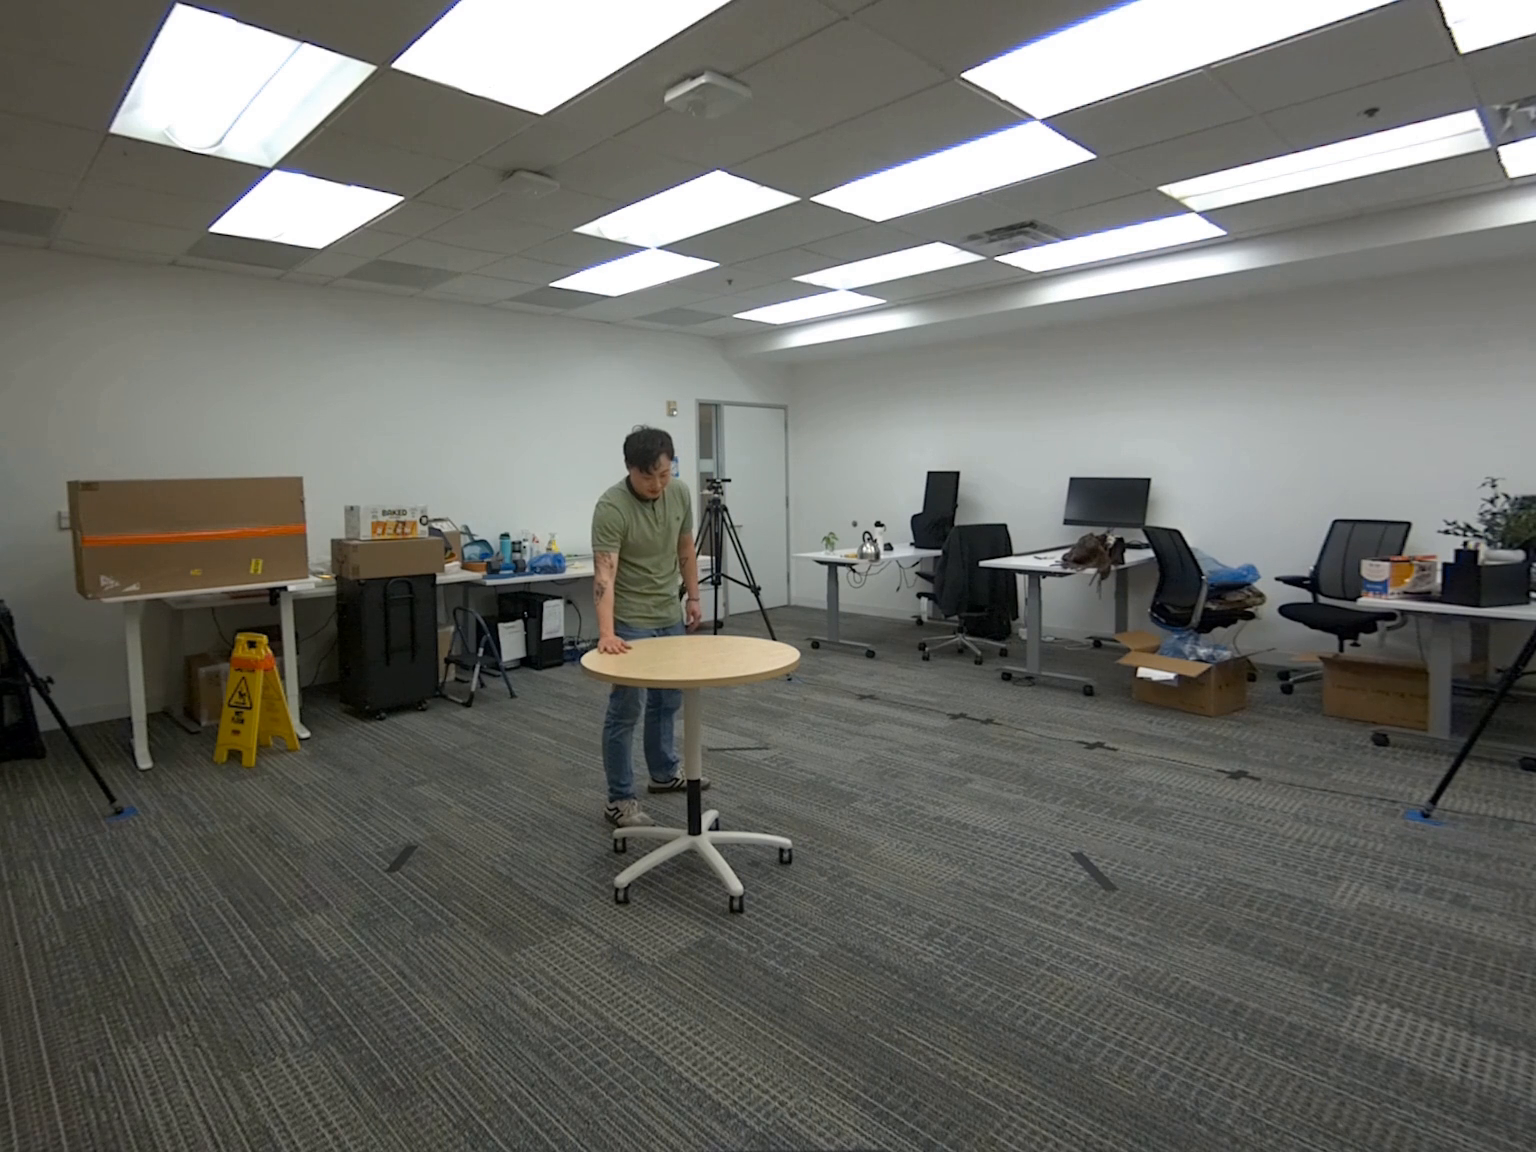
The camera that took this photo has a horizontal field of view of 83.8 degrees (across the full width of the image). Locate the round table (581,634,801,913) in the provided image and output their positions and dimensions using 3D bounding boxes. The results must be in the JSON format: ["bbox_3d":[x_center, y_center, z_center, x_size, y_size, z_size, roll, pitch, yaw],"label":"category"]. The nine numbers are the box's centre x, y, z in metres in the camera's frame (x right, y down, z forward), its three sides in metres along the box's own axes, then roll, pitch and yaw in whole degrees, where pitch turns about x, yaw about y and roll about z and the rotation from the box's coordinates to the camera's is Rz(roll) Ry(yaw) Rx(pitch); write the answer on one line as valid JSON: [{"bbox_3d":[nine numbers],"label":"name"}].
[{"bbox_3d":[-0.261,0.668,3.021,0.763,0.791,0.768,-1,5,-2],"label":"round table"}]
